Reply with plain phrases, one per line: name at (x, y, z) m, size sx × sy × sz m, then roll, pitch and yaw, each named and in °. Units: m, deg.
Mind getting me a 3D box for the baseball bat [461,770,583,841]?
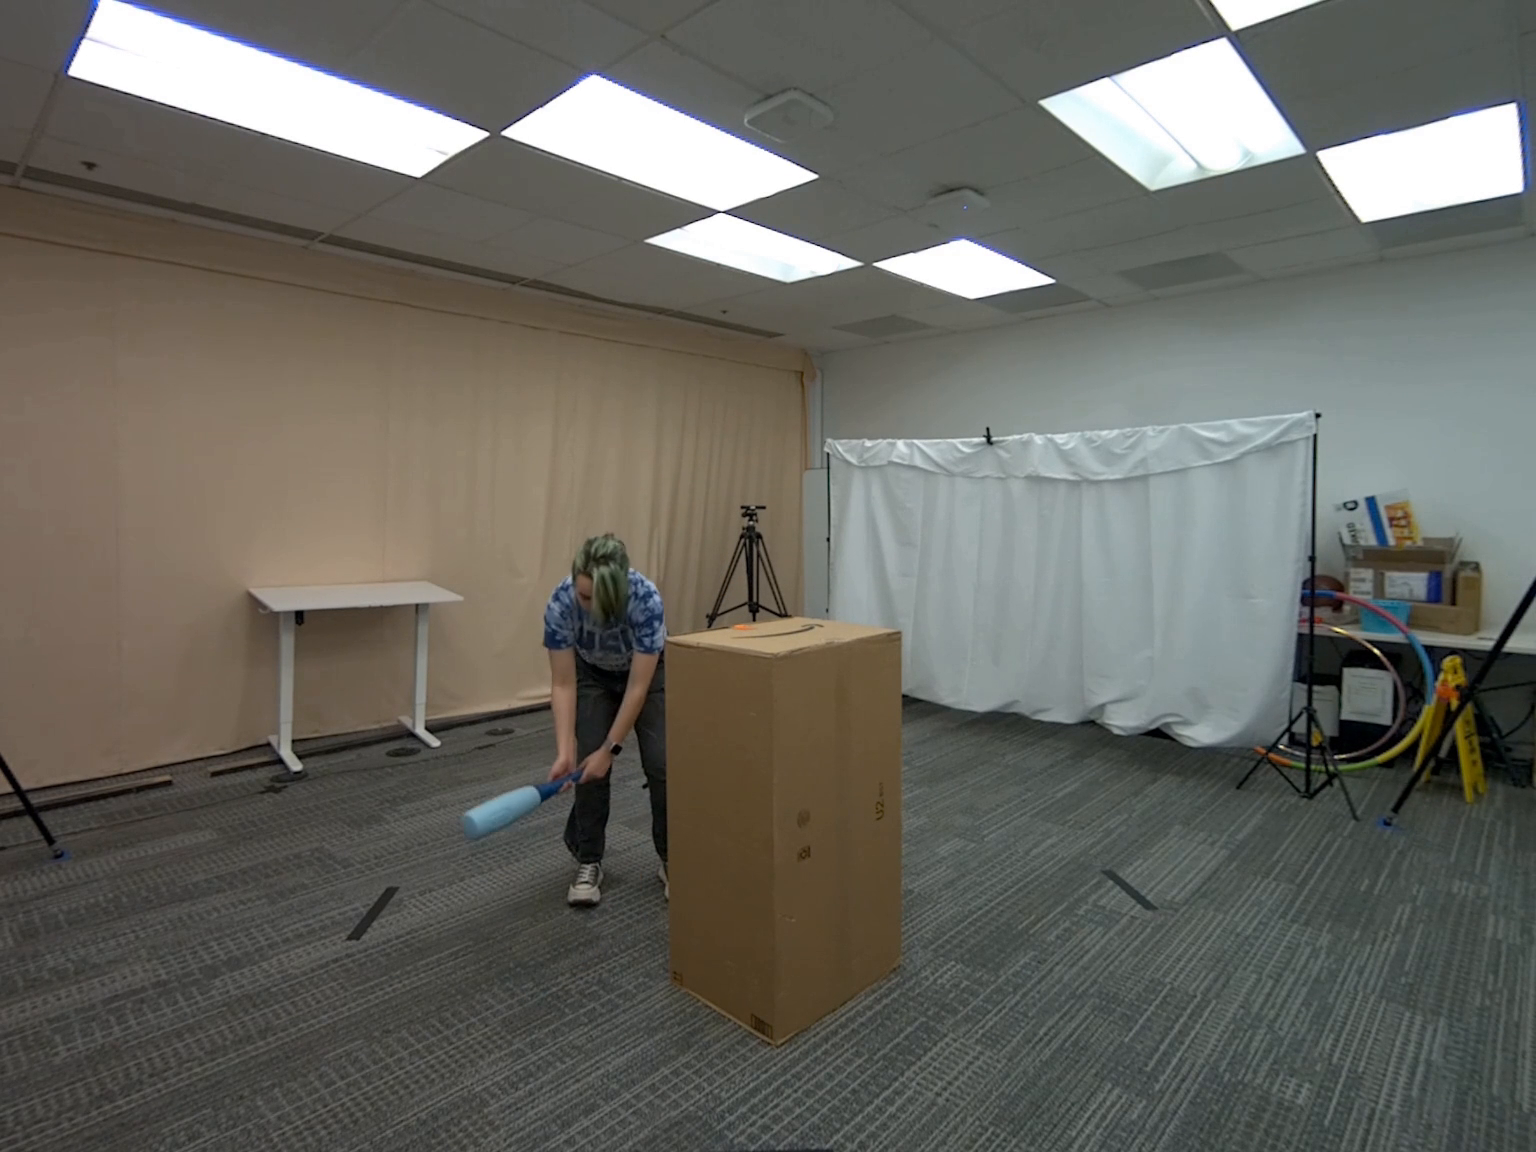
baseball bat at (-0.686, 0.663, 2.591) m, size 0.092 × 0.088 × 0.528 m, roll 3°, pitch 9°, yaw 35°
